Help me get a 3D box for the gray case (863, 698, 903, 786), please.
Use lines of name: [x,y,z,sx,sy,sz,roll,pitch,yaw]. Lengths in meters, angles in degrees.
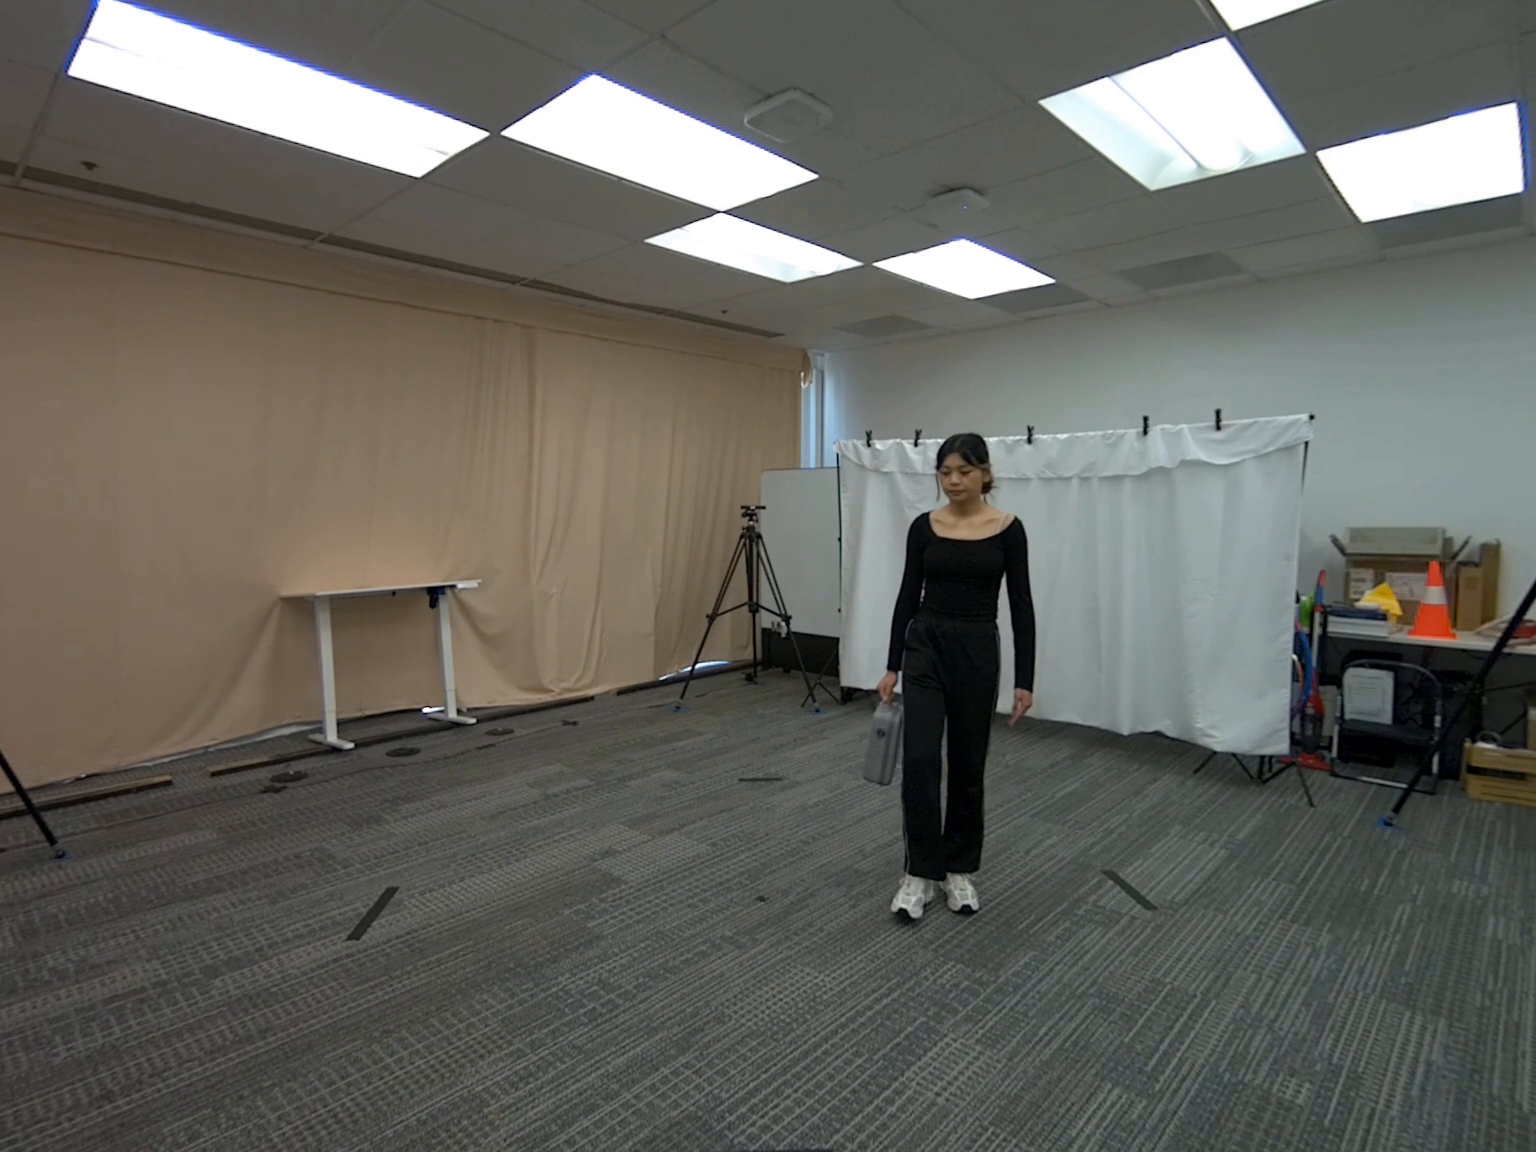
gray case: [0.425,0.597,3.035,0.106,0.260,0.253,7,4,13]
